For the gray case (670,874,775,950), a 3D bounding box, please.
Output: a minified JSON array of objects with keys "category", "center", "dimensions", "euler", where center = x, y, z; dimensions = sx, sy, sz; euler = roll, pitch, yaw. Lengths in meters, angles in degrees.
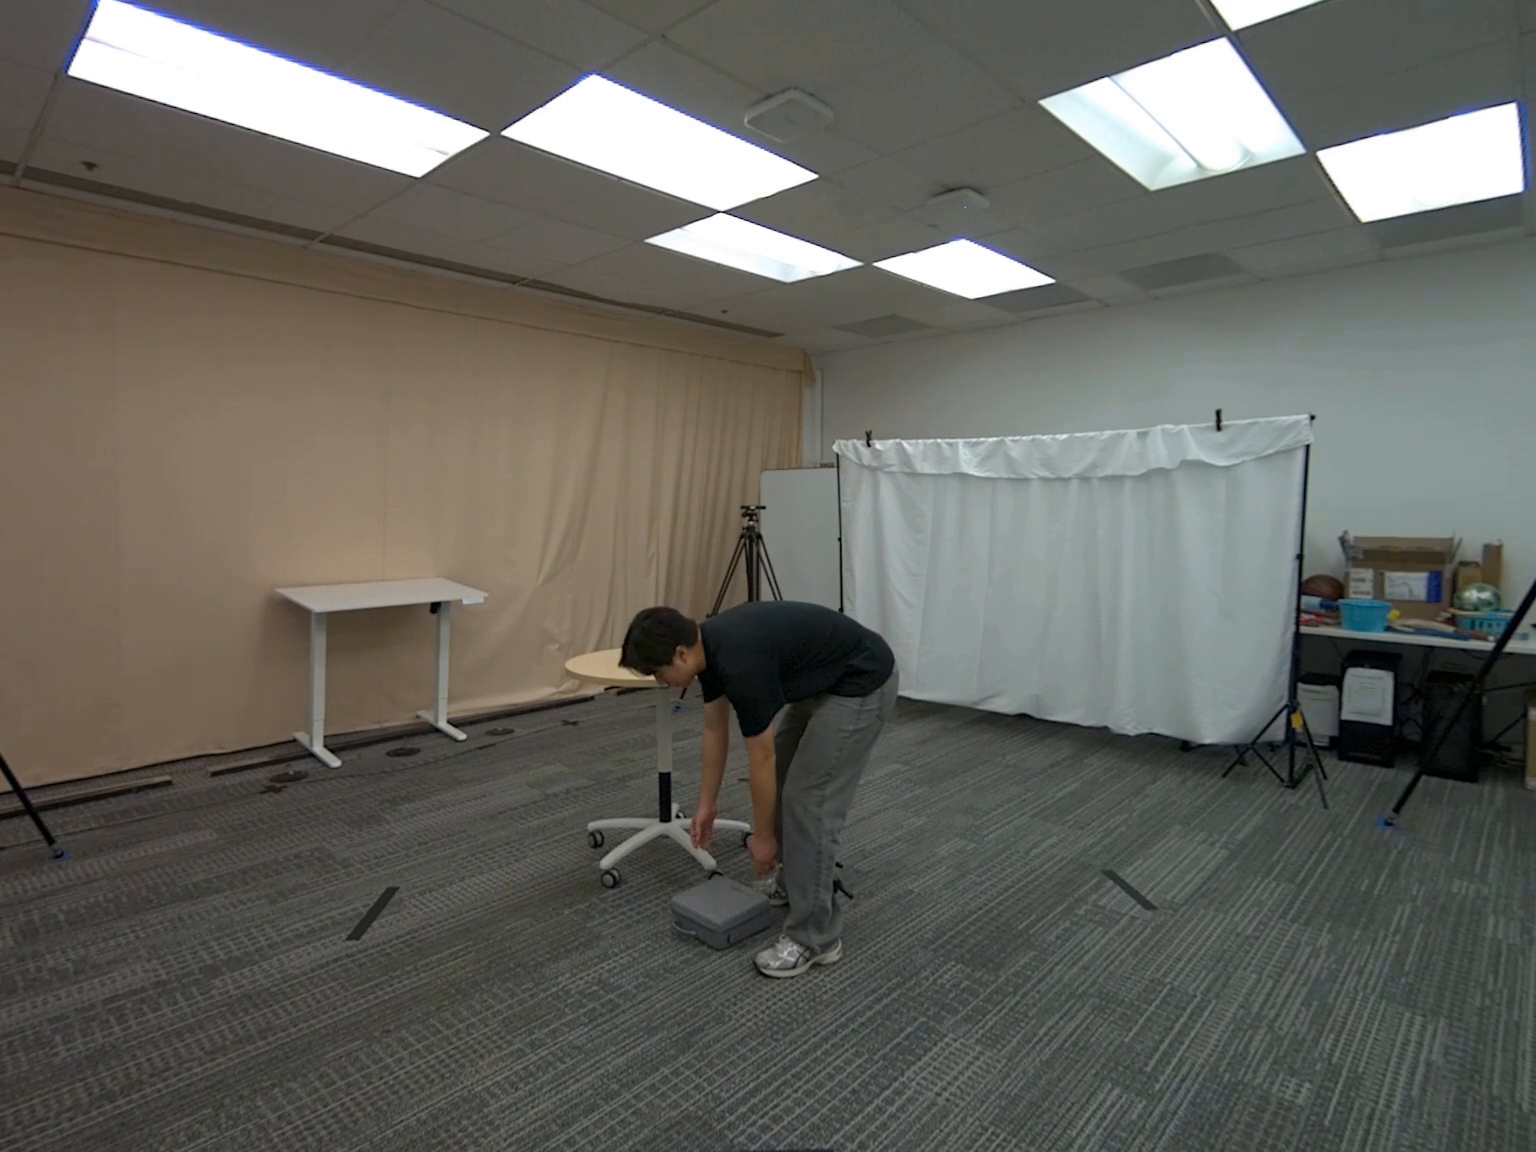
[{"category":"gray case","center":[-0.163,1.111,2.773],"dimensions":[0.279,0.103,0.272],"euler":[-7,8,-44]}]
